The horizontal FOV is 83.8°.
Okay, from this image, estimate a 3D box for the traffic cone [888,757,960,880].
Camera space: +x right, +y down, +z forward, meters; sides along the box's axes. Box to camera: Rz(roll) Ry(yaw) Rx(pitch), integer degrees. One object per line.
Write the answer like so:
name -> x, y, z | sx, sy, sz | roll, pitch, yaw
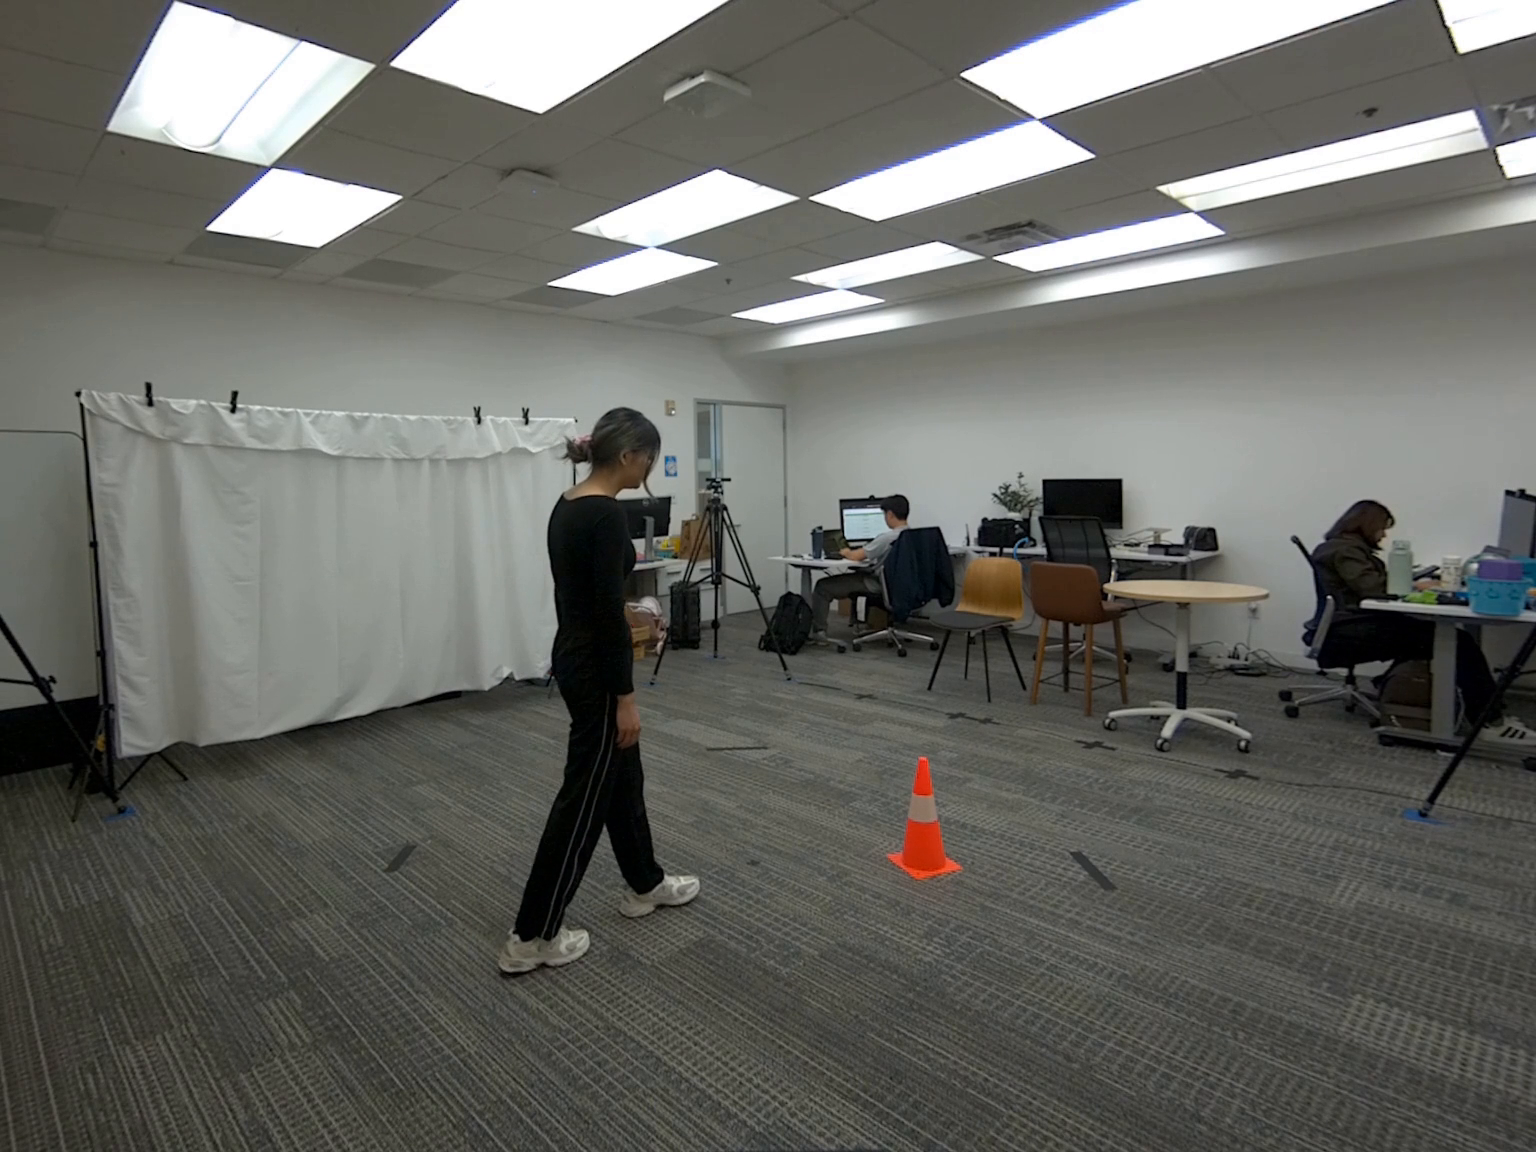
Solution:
traffic cone -> 0.568, 0.851, 3.074 | 0.201, 0.383, 0.208 | -1, 3, -22
